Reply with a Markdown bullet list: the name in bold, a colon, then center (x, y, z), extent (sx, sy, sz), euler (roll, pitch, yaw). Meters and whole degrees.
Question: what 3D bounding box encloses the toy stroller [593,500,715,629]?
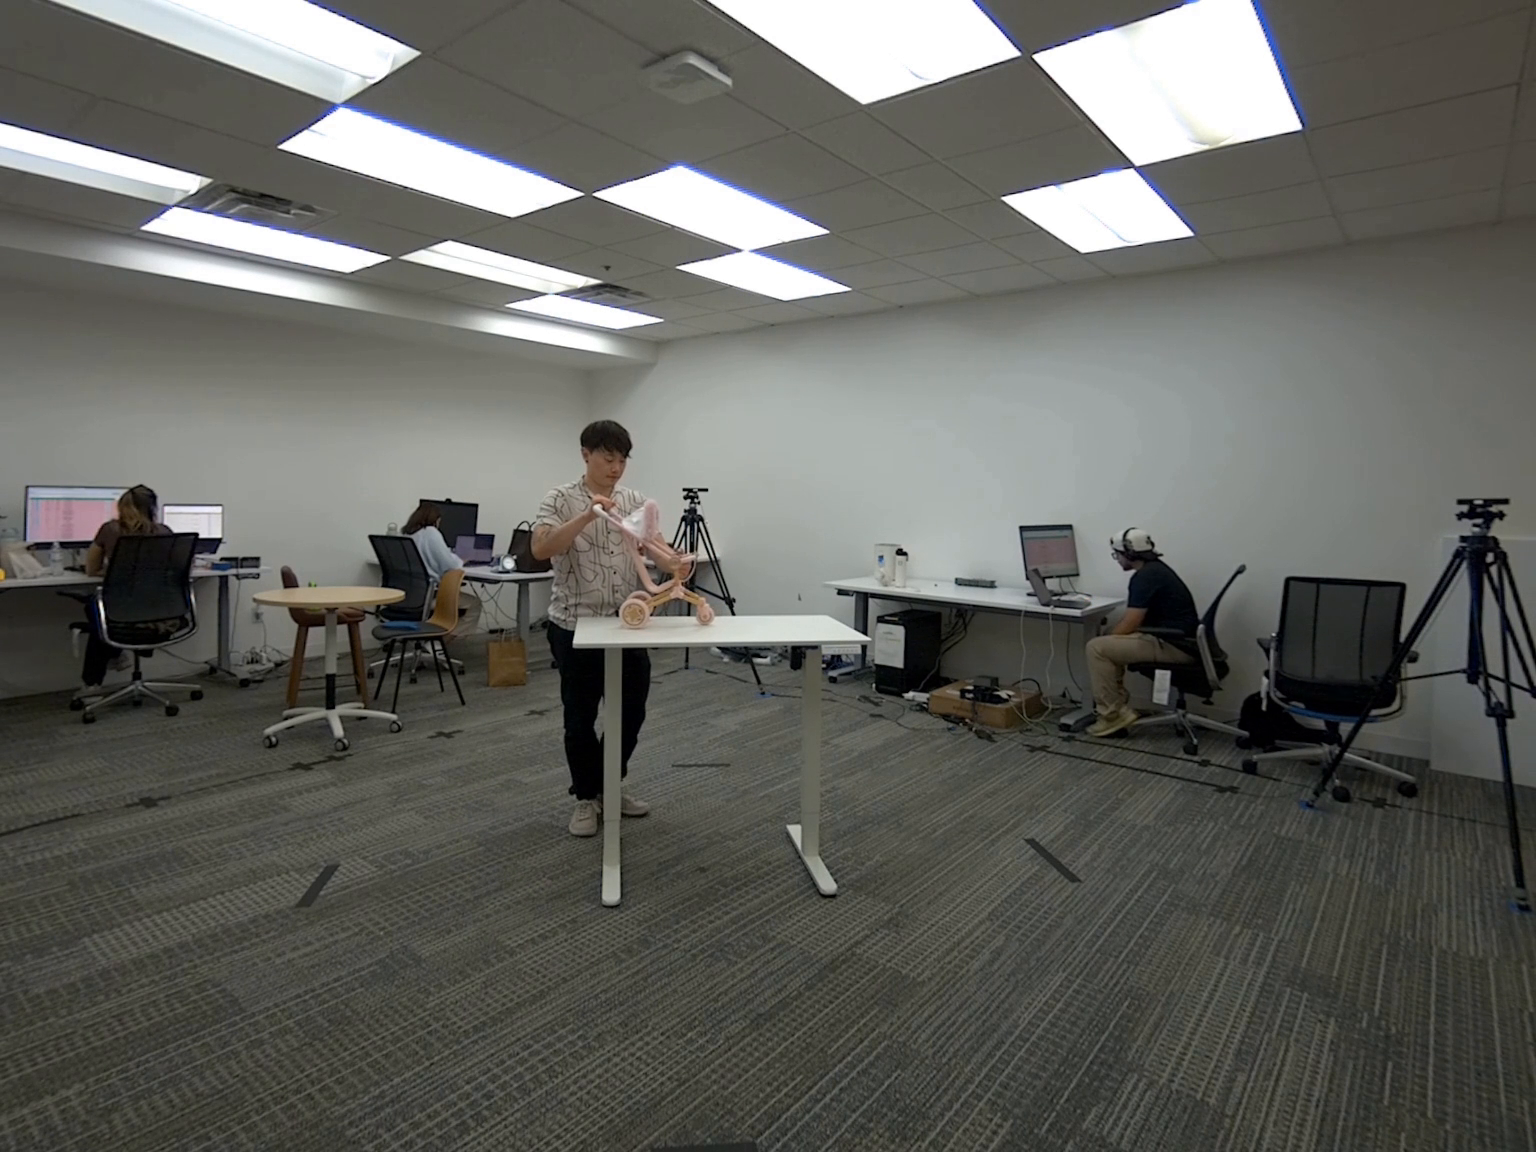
- **toy stroller**: center (-0.426, -0.047, 3.163), extent (0.343, 0.533, 0.281), euler (-13, 3, 5)
